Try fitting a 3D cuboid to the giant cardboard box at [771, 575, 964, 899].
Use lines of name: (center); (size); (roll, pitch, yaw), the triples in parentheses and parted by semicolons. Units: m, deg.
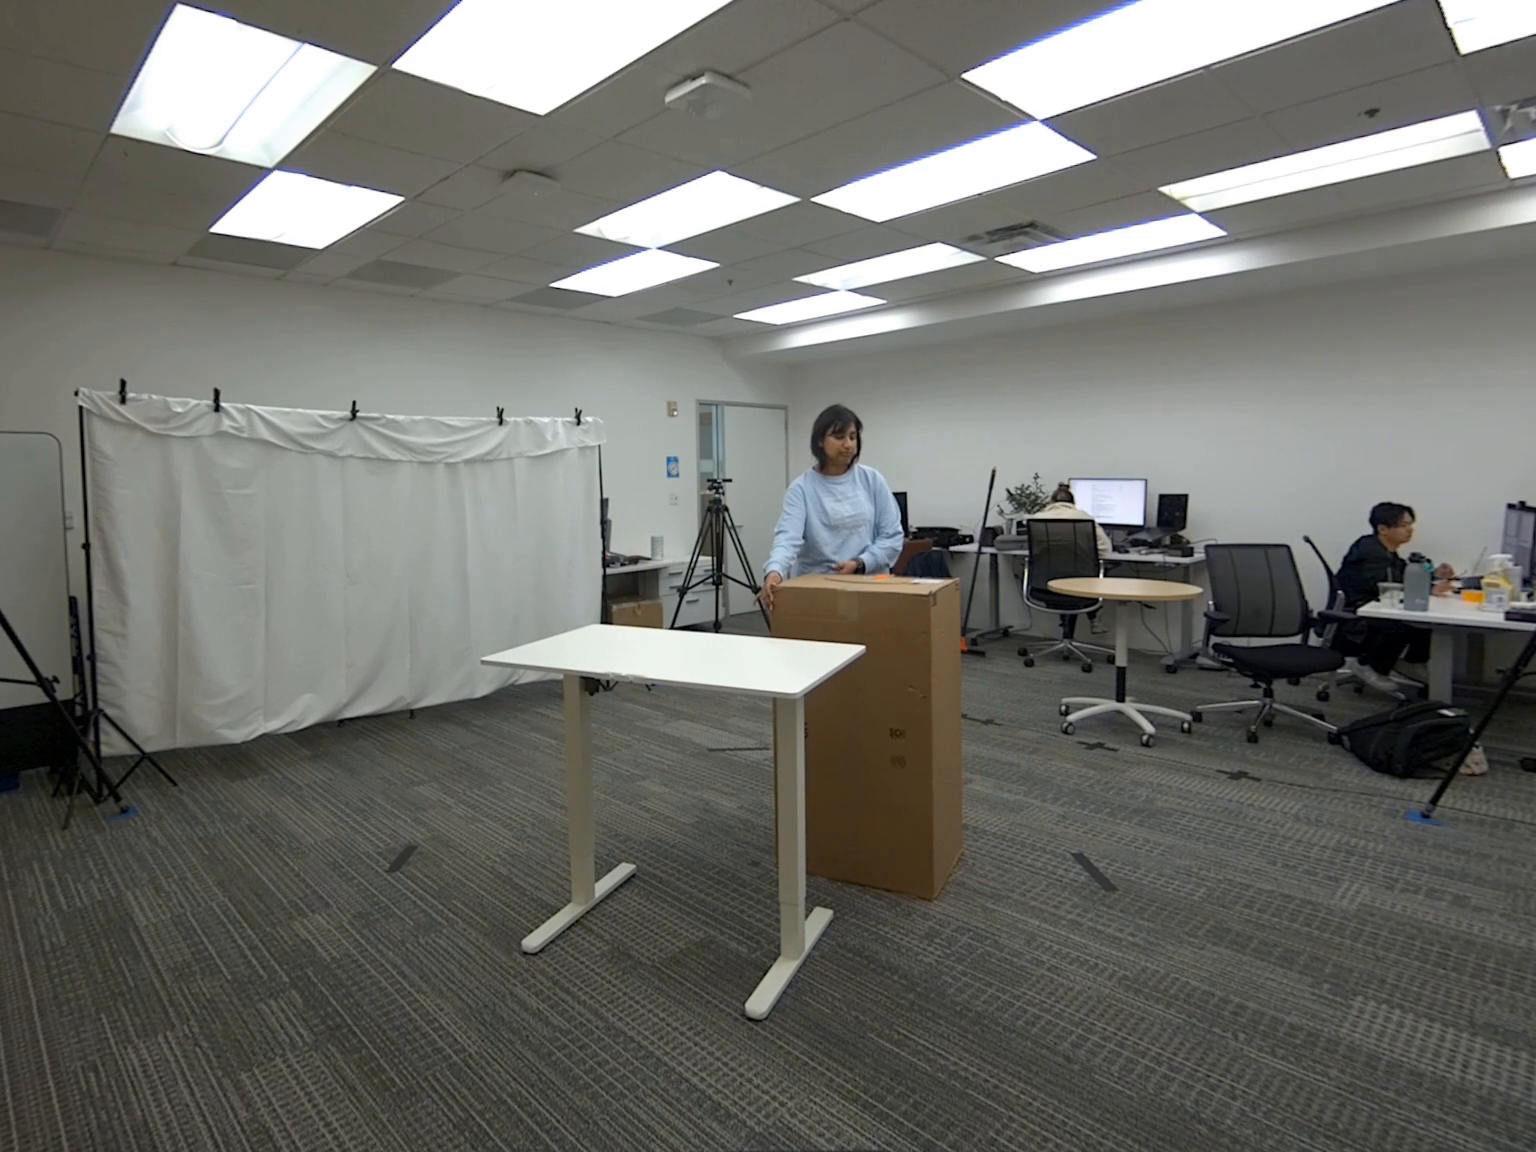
giant cardboard box: (0.365, 0.532, 3.091); (0.591, 1.022, 0.417); (0, 4, 27)
